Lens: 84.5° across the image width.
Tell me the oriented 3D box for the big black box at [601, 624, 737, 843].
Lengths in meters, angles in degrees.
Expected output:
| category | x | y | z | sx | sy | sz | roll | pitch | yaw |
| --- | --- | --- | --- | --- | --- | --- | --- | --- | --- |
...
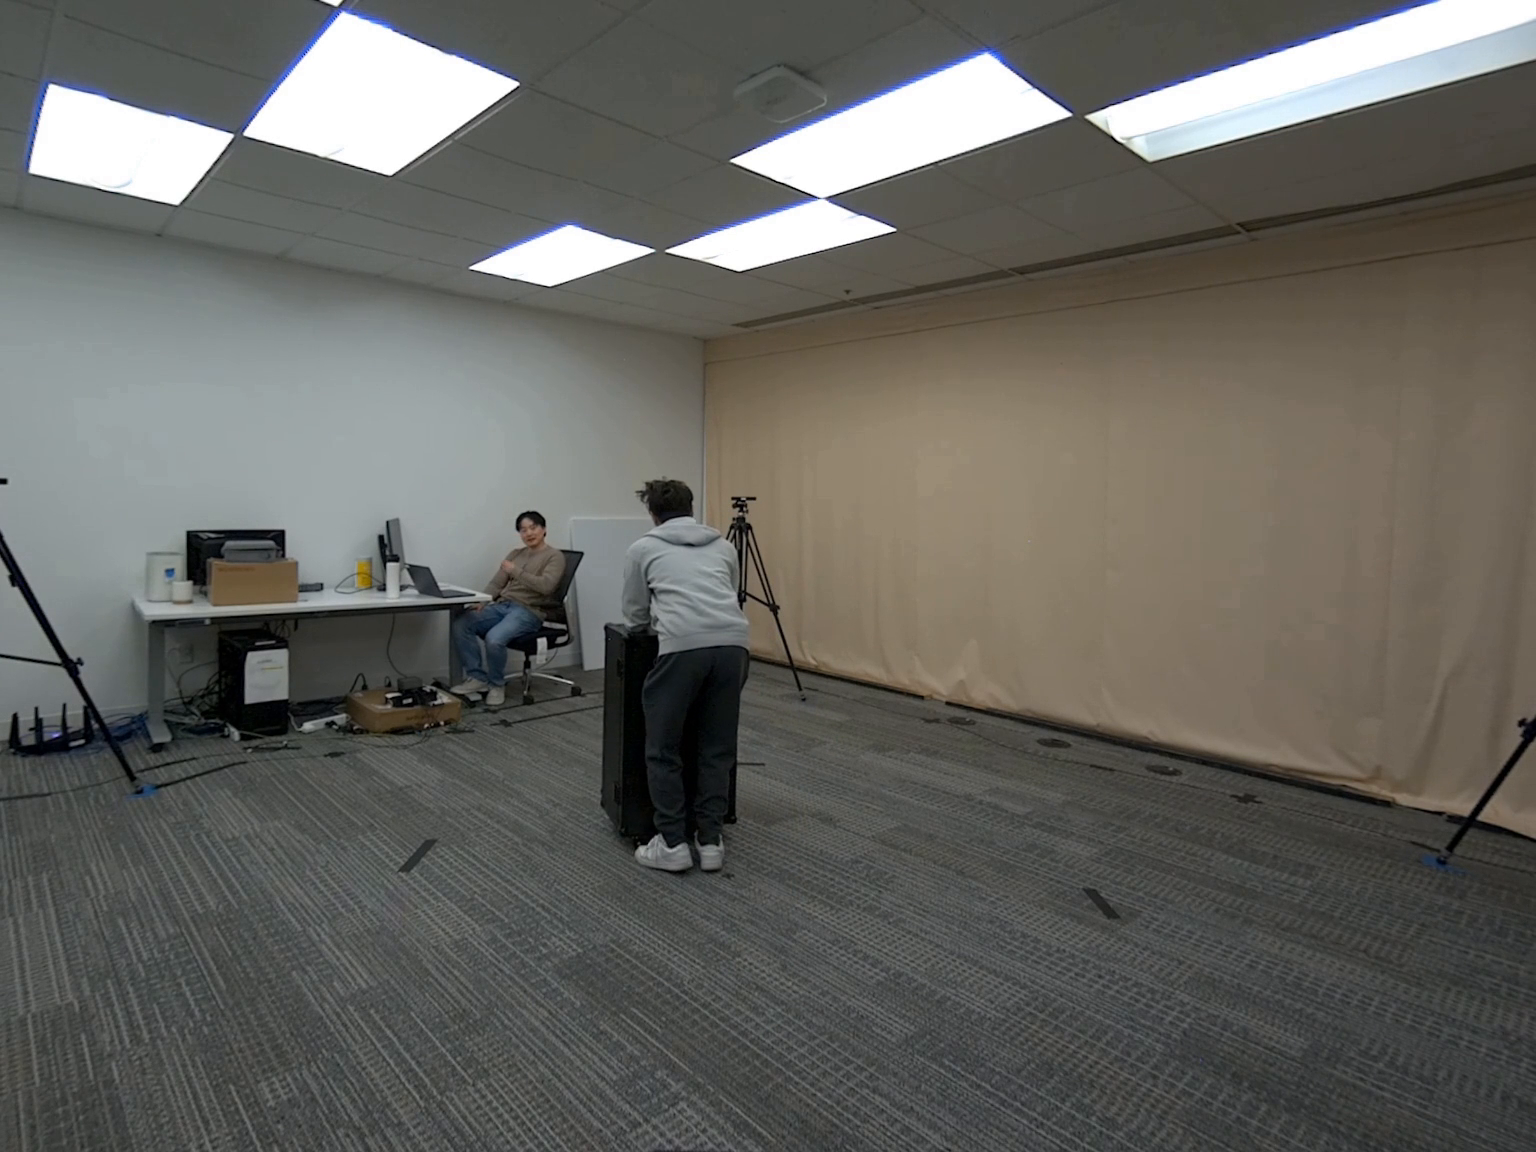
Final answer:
| category | x | y | z | sx | sy | sz | roll | pitch | yaw |
| --- | --- | --- | --- | --- | --- | --- | --- | --- | --- |
| big black box | -0.432 | 0.639 | 3.516 | 0.513 | 0.860 | 0.403 | 1 | 2 | -21 |
